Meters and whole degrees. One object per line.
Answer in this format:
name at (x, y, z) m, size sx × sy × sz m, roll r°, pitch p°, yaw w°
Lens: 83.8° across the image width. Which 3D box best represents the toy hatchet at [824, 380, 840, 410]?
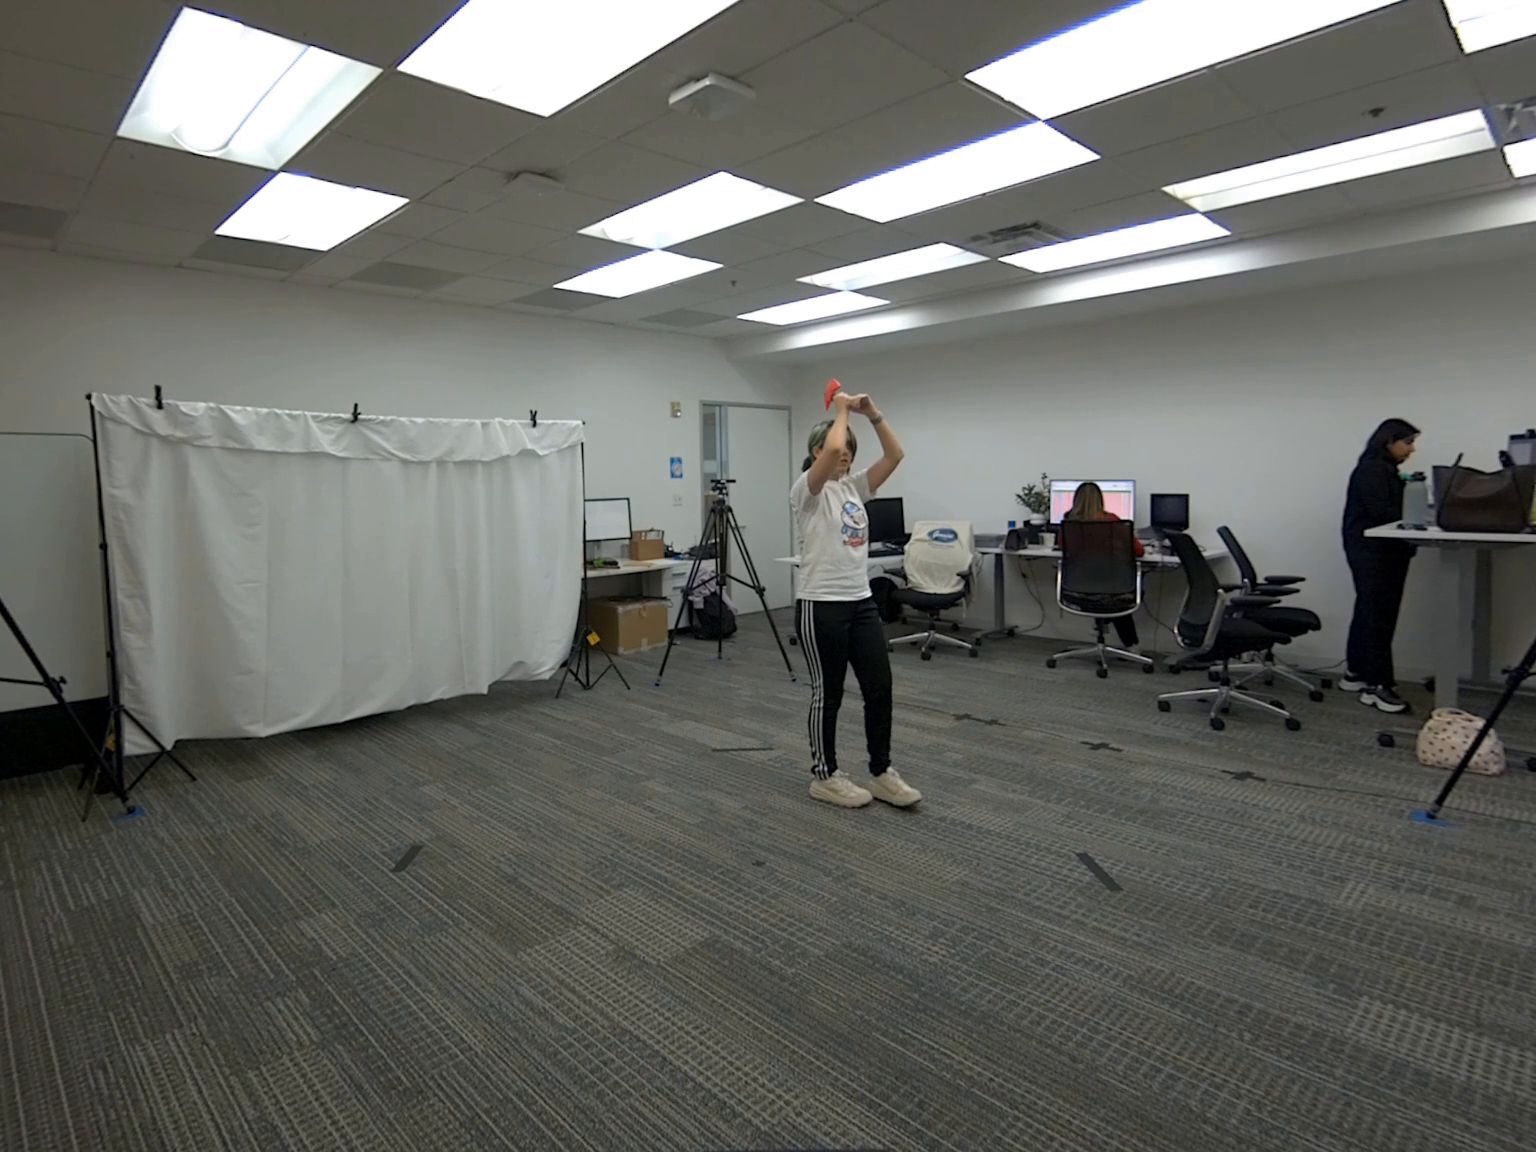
toy hatchet at (0.326, -0.768, 3.564) m, size 0.029 × 0.131 × 0.278 m, roll -1°, pitch 4°, yaw -33°
